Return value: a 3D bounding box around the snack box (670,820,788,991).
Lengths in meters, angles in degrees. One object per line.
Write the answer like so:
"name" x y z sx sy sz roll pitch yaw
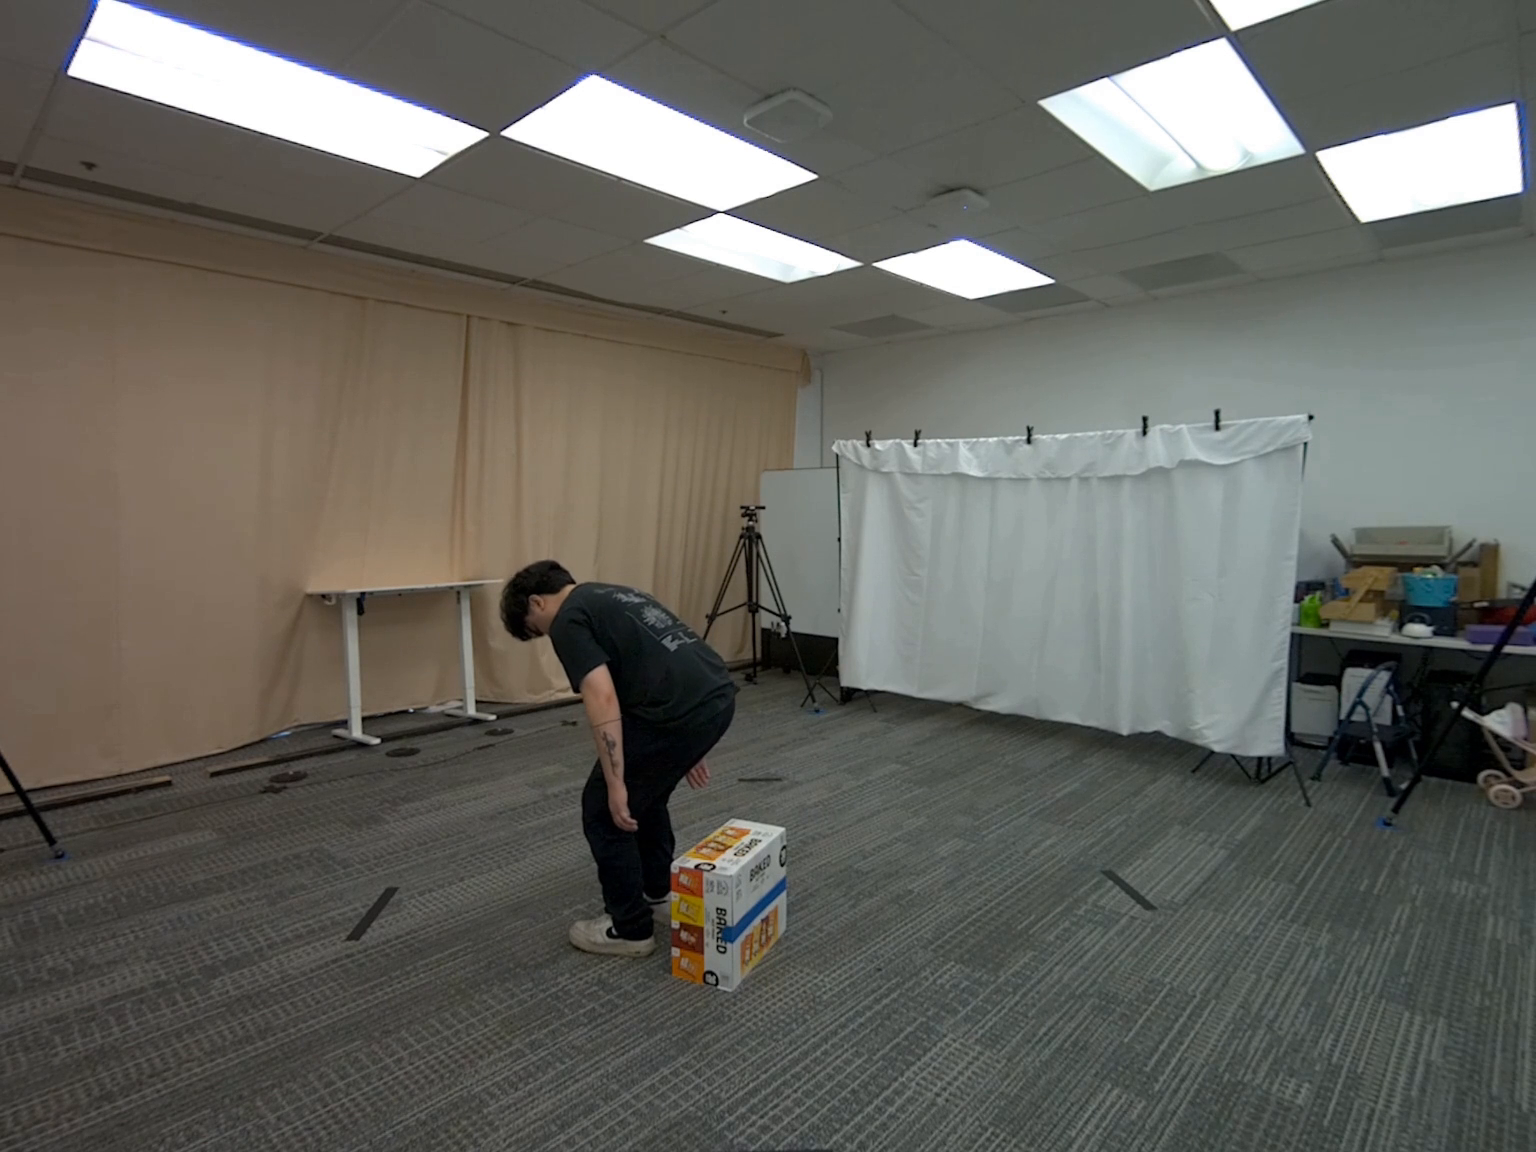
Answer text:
"snack box" -0.112 1.002 2.625 0.211 0.340 0.396 1 4 25
